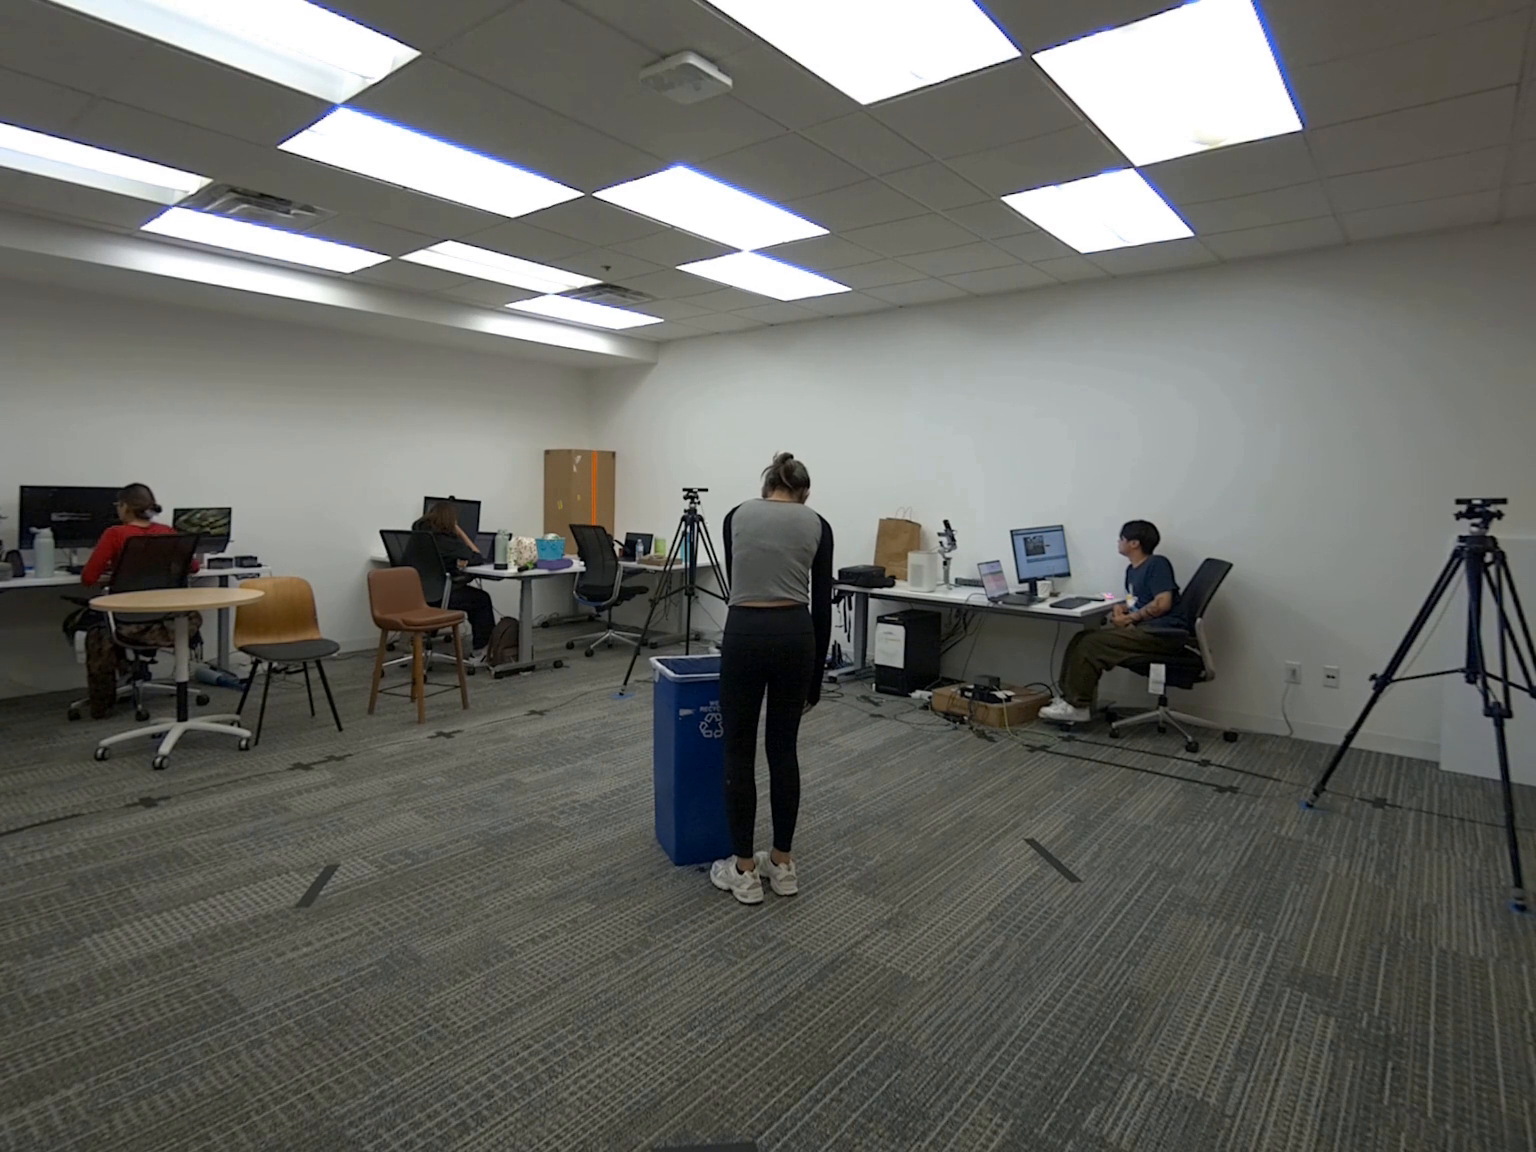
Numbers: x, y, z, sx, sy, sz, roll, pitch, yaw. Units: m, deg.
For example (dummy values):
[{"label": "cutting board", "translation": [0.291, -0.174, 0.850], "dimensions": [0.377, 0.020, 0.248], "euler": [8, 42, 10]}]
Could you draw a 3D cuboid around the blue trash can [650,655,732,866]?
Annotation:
[{"label": "blue trash can", "translation": [-0.262, 0.691, 3.301], "dimensions": [0.366, 0.711, 0.387], "euler": [0, 4, -21]}]
